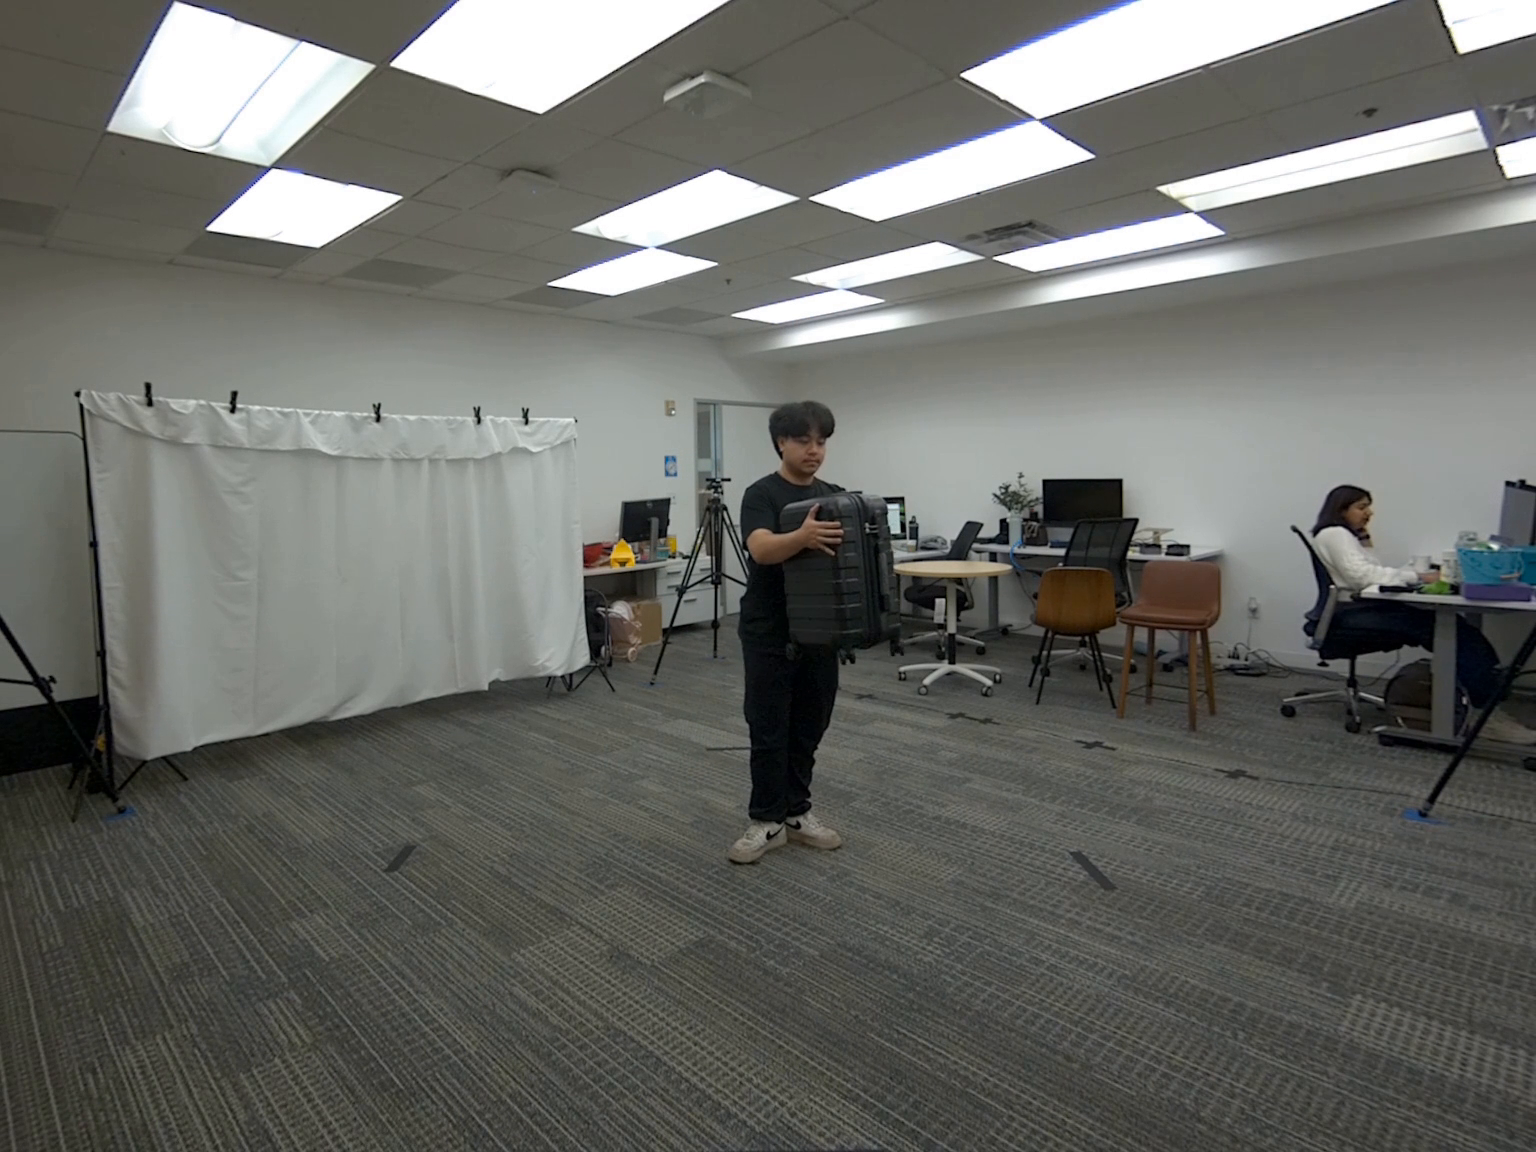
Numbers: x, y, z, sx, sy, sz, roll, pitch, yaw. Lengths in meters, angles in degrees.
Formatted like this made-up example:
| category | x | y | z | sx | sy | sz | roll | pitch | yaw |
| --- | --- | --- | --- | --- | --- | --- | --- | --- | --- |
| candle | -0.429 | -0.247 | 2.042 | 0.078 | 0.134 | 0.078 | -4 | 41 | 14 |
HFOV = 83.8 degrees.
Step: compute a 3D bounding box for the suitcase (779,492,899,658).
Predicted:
| category | x | y | z | sx | sy | sz | roll | pitch | yaw |
| --- | --- | --- | --- | --- | --- | --- | --- | --- | --- |
| suitcase | 0.239 | 0.000 | 2.859 | 0.243 | 0.549 | 0.384 | -7 | 2 | -30 |
